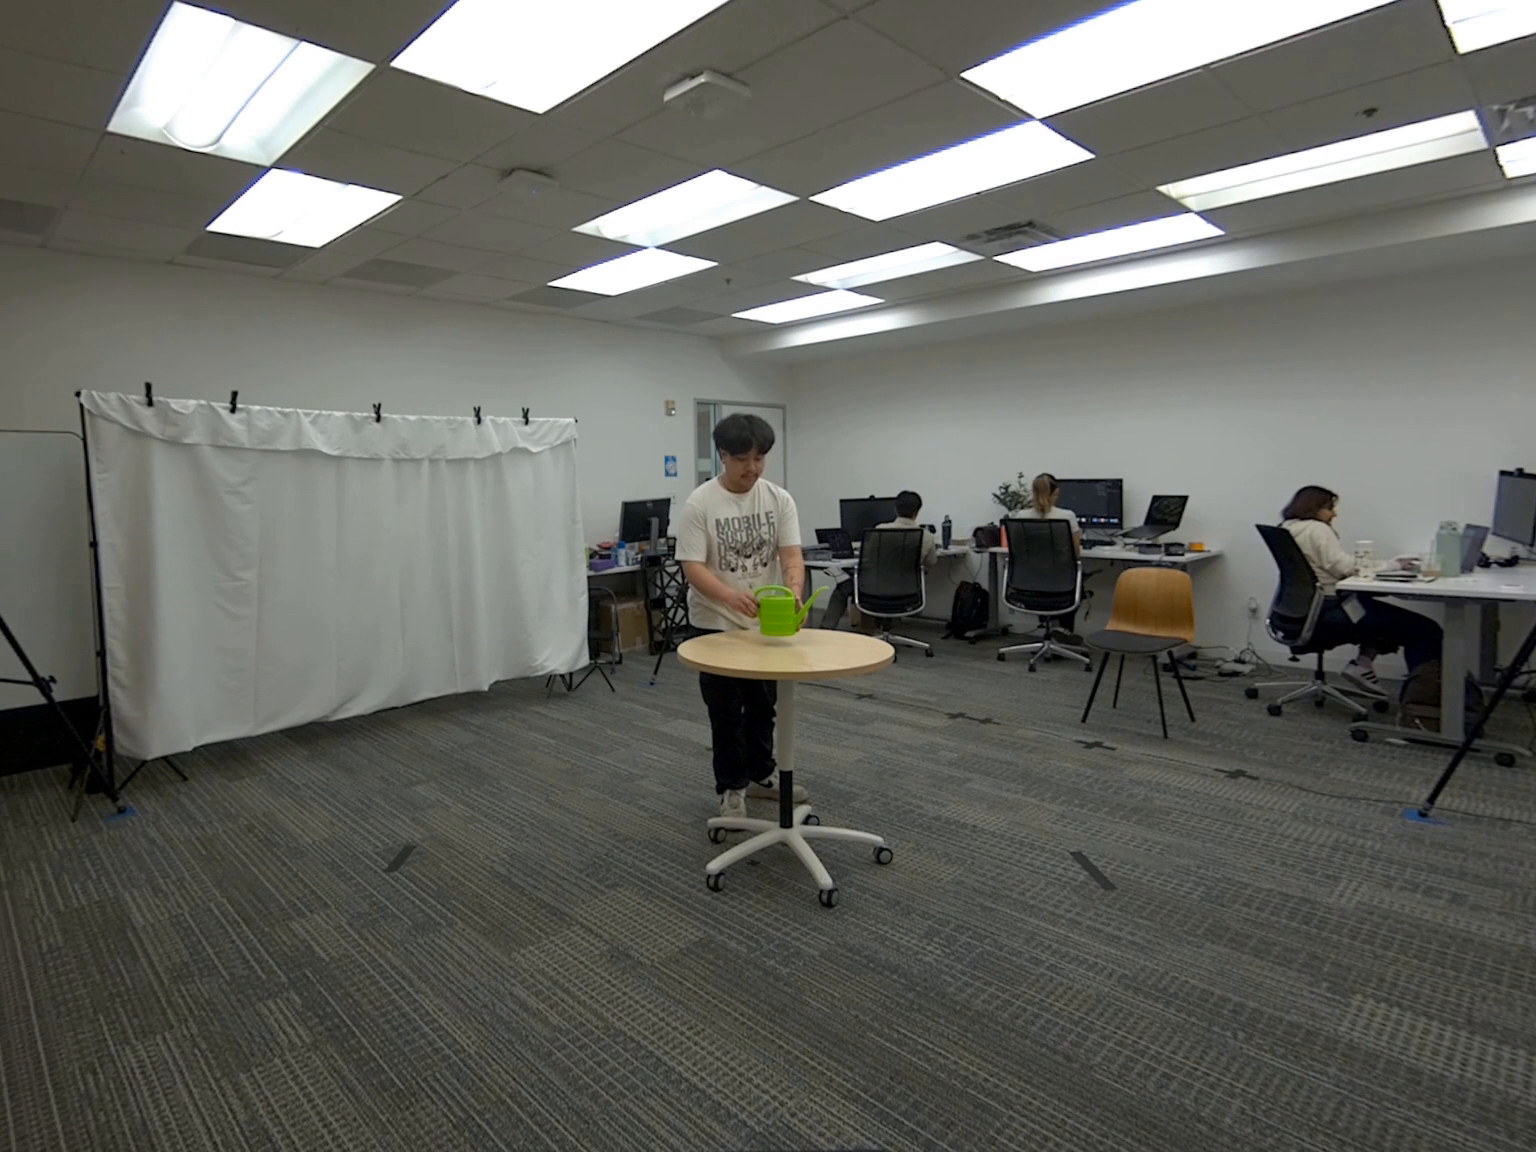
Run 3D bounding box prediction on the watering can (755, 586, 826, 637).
[{"bbox_3d":[0.069,0.125,3.060,0.286,0.177,0.095,-1,2,37],"label":"watering can"}]
